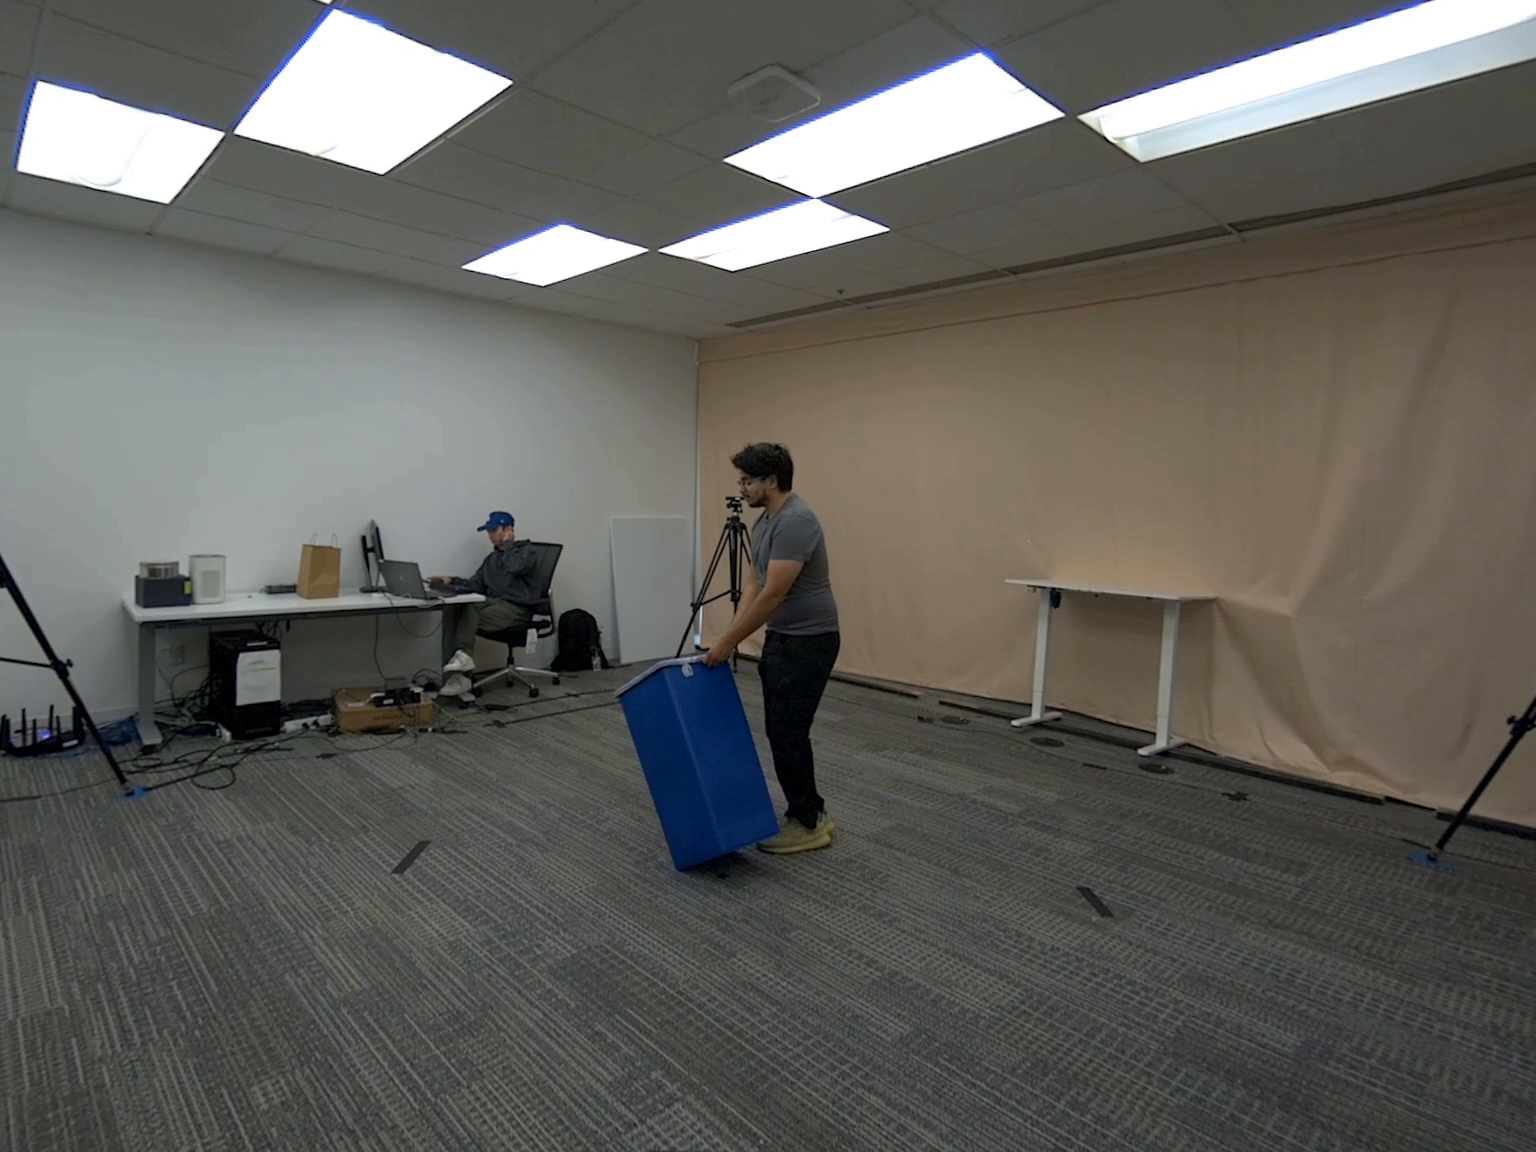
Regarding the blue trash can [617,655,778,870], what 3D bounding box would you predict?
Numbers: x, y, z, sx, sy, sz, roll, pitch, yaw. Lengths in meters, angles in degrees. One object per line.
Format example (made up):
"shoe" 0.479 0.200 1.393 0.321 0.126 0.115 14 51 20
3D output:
"blue trash can" -0.278 0.709 3.248 0.365 0.726 0.380 0 -27 -45
